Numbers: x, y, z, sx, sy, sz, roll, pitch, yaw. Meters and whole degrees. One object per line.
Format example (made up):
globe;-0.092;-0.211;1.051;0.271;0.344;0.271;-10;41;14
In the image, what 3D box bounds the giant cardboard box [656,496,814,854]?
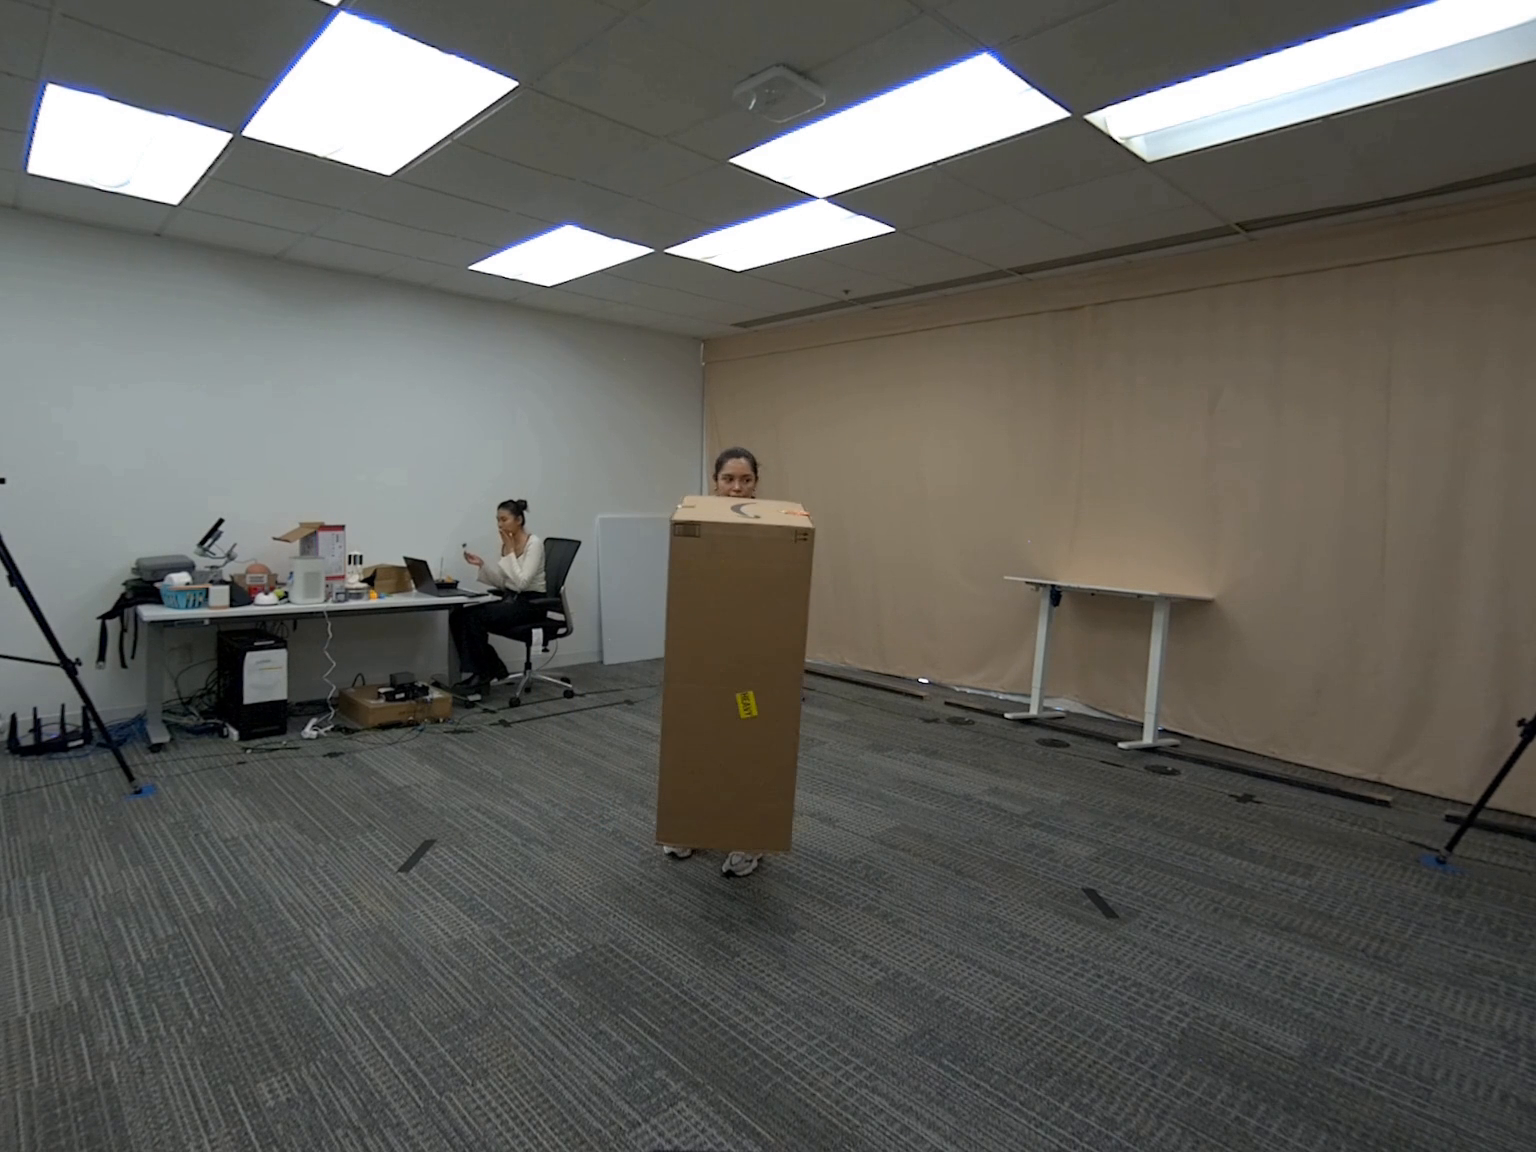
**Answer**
giant cardboard box;-0.119;0.292;2.766;0.426;1.019;0.581;3;10;-1
